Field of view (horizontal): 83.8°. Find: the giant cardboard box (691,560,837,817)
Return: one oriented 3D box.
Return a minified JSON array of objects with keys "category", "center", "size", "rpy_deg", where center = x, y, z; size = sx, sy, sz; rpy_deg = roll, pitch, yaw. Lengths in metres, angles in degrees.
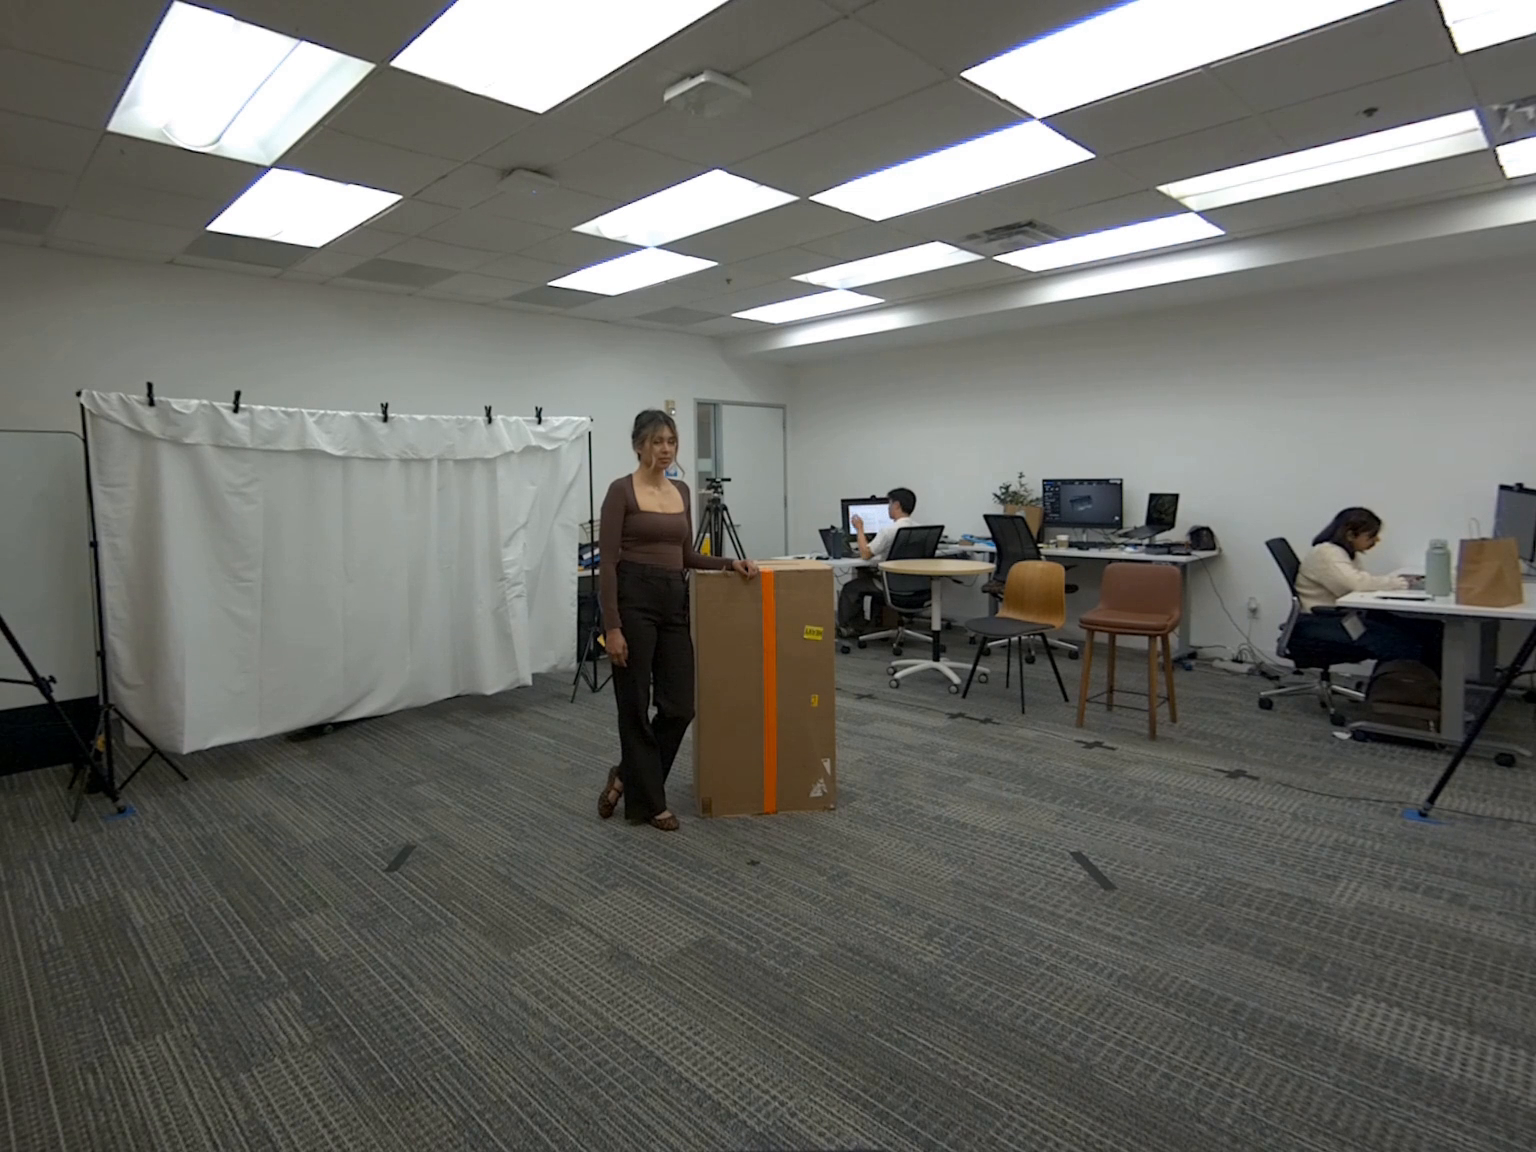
[{"category":"giant cardboard box","center":[-0.030,0.462,3.739],"size":[0.580,1.024,0.452],"rpy_deg":[-1,4,-8]}]
